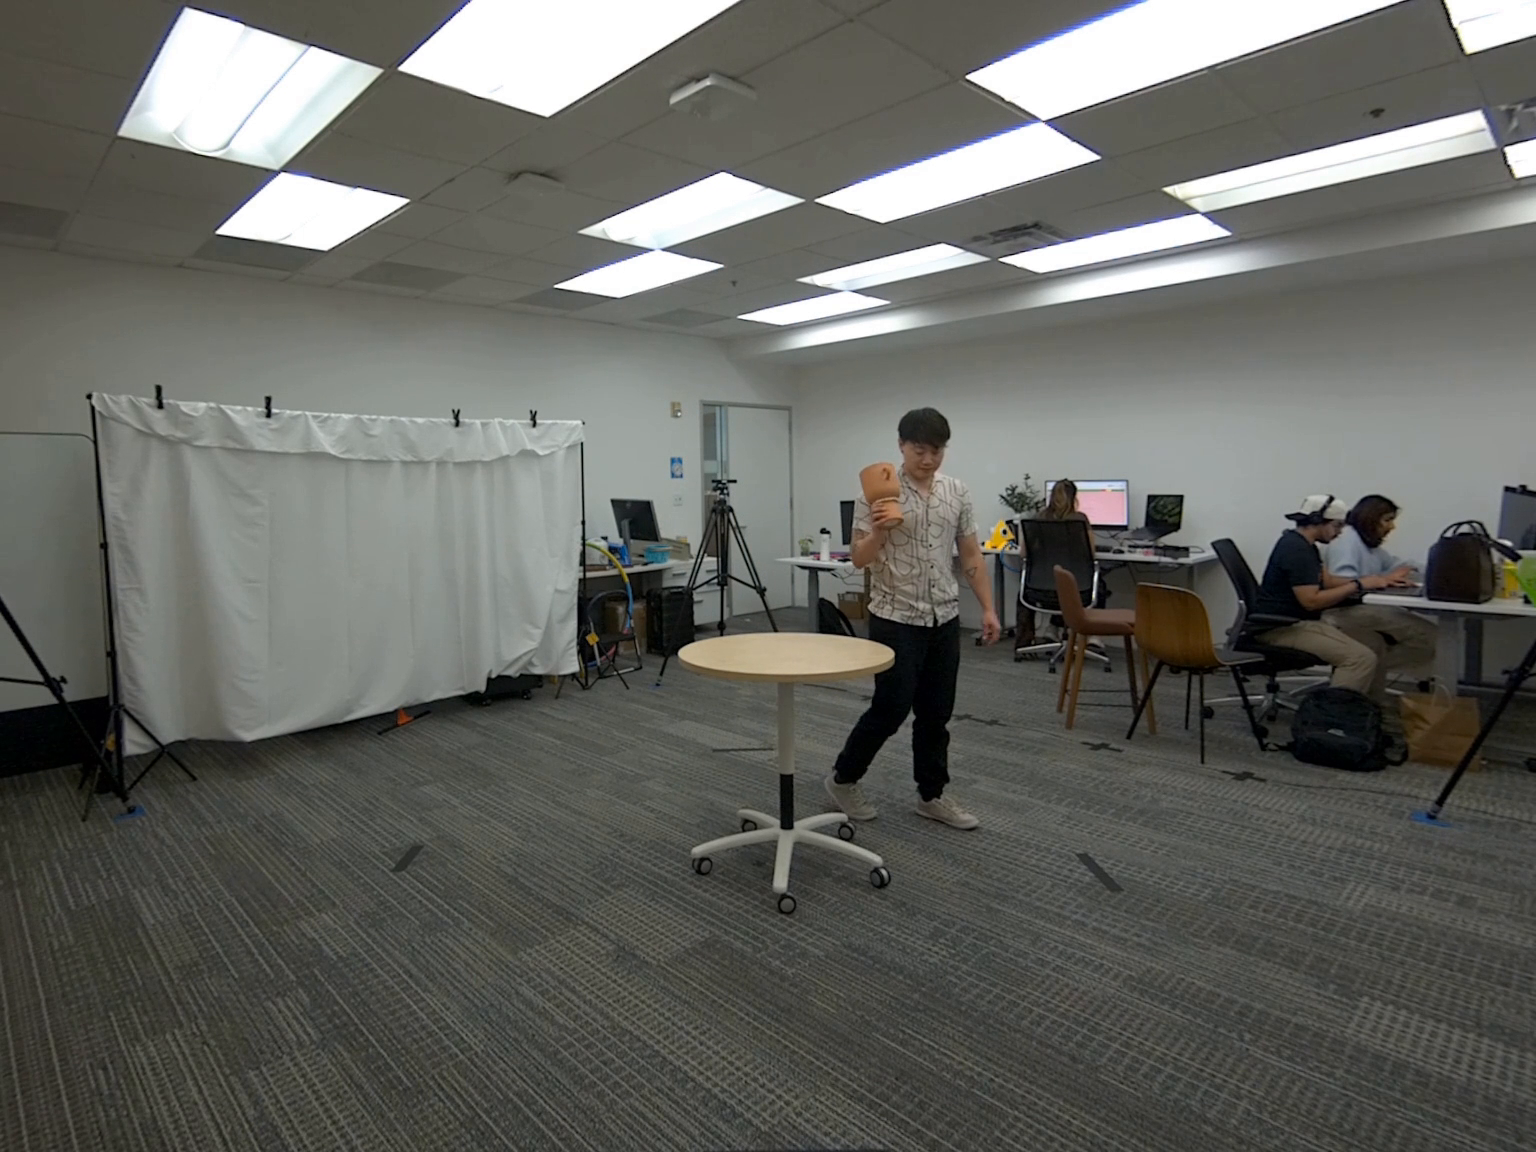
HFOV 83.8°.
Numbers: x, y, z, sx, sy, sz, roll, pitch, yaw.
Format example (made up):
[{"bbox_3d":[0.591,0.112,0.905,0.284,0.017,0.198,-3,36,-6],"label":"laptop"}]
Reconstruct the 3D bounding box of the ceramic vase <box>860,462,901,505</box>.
[{"bbox_3d":[0.431,-0.291,3.154,0.136,0.224,0.153,-21,-22,23],"label":"ceramic vase"}]
